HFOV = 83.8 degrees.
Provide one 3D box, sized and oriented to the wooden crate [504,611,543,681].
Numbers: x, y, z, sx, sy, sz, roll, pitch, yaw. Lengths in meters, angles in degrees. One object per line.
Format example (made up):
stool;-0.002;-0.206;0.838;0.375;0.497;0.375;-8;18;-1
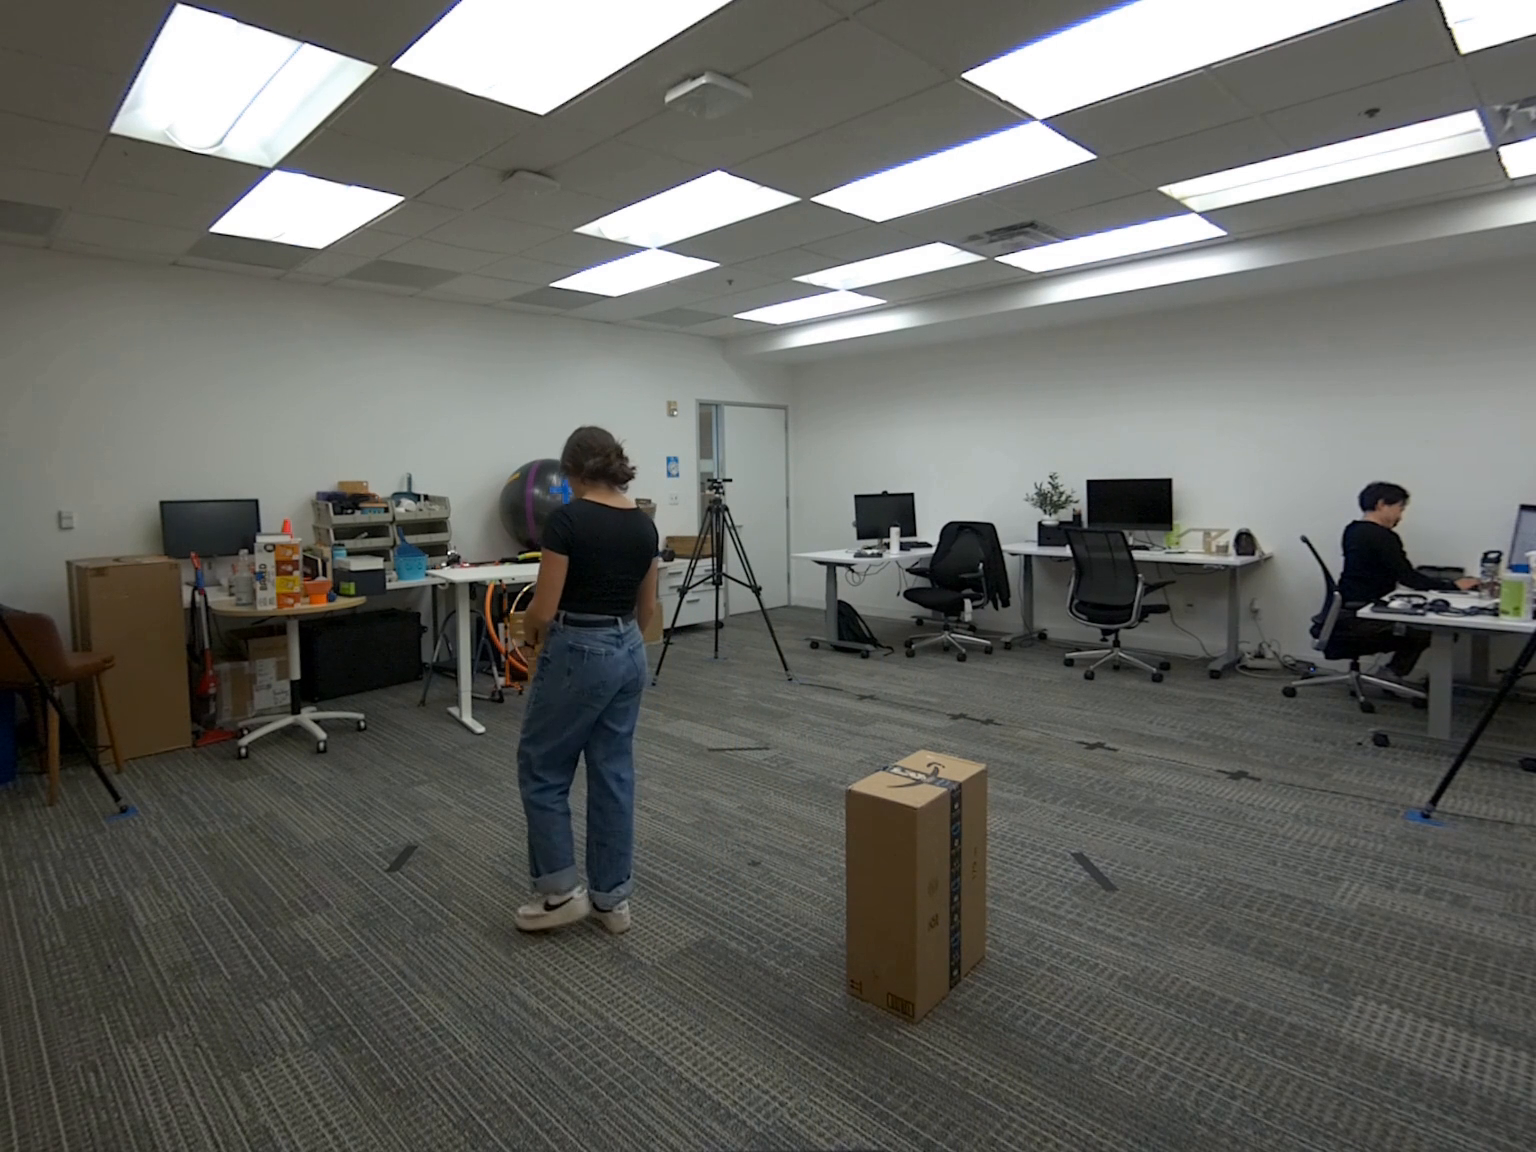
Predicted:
wooden crate;-0.682;0.239;2.950;0.295;0.274;0.332;-4;-1;-32
